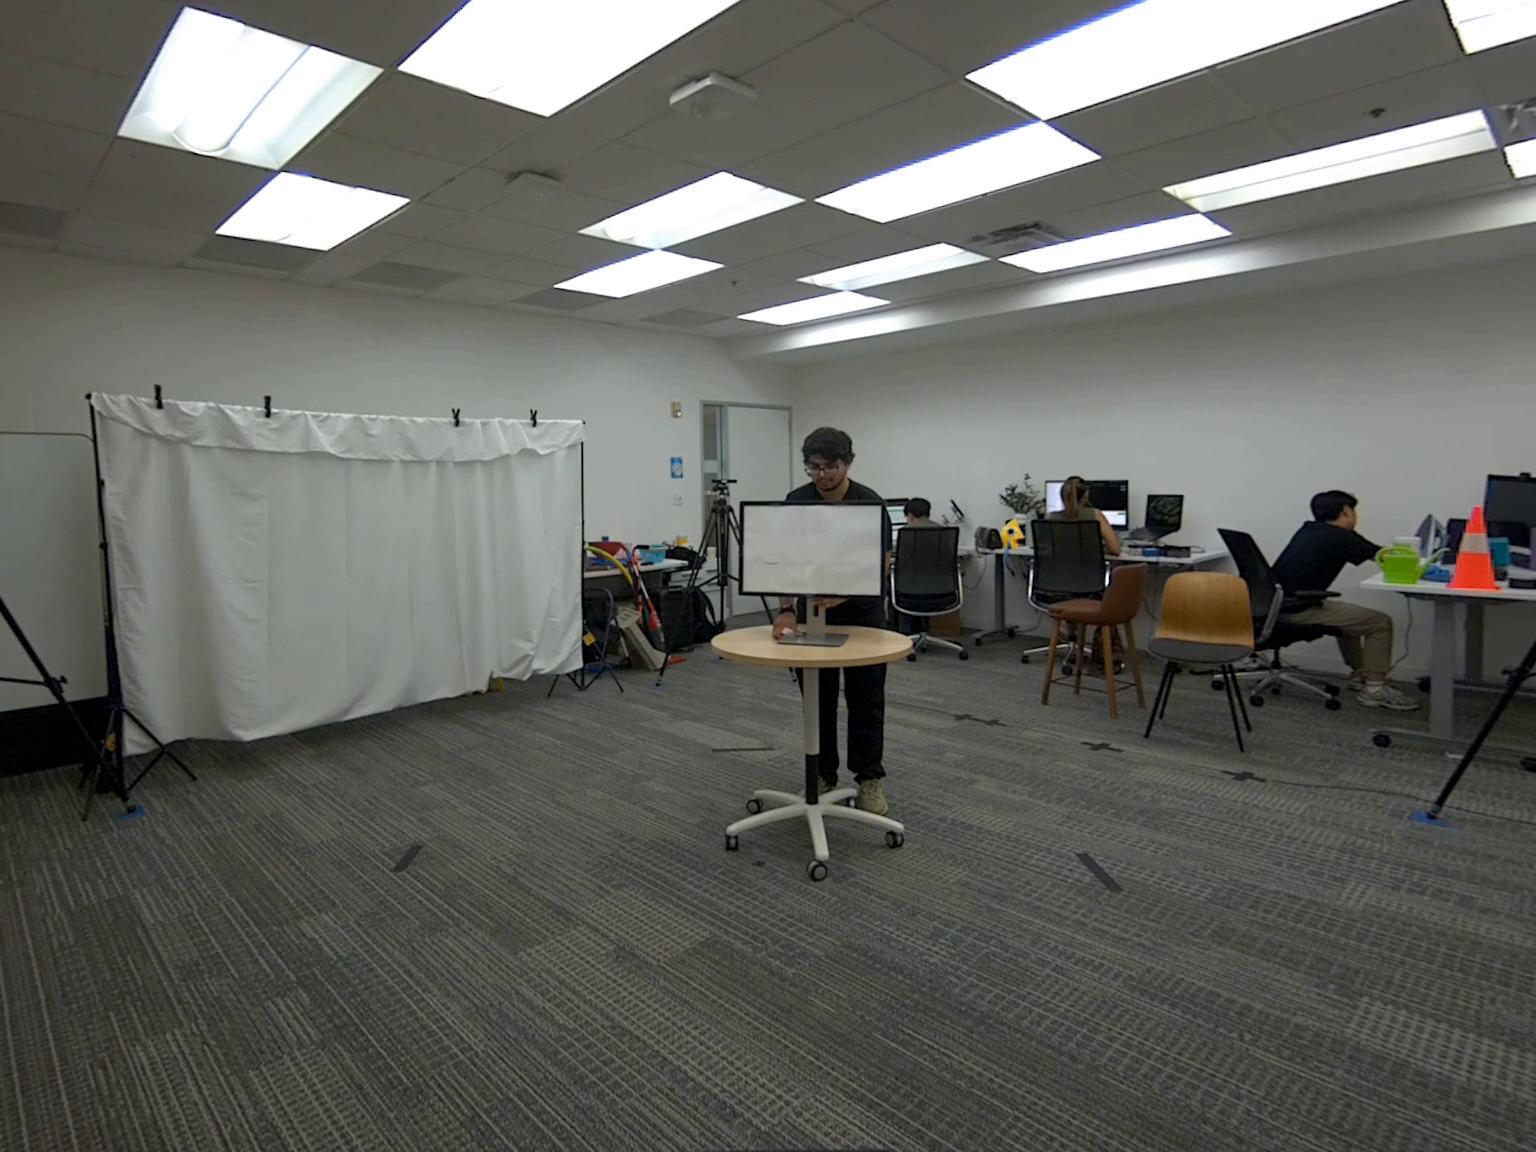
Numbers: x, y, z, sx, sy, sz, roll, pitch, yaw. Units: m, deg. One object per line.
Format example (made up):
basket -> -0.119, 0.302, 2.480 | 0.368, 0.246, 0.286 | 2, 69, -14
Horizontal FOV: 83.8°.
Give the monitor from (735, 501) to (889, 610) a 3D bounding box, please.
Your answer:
monitor -> 0.180, -0.014, 3.267 | 0.576, 0.553, 0.207 | 1, 2, 19
